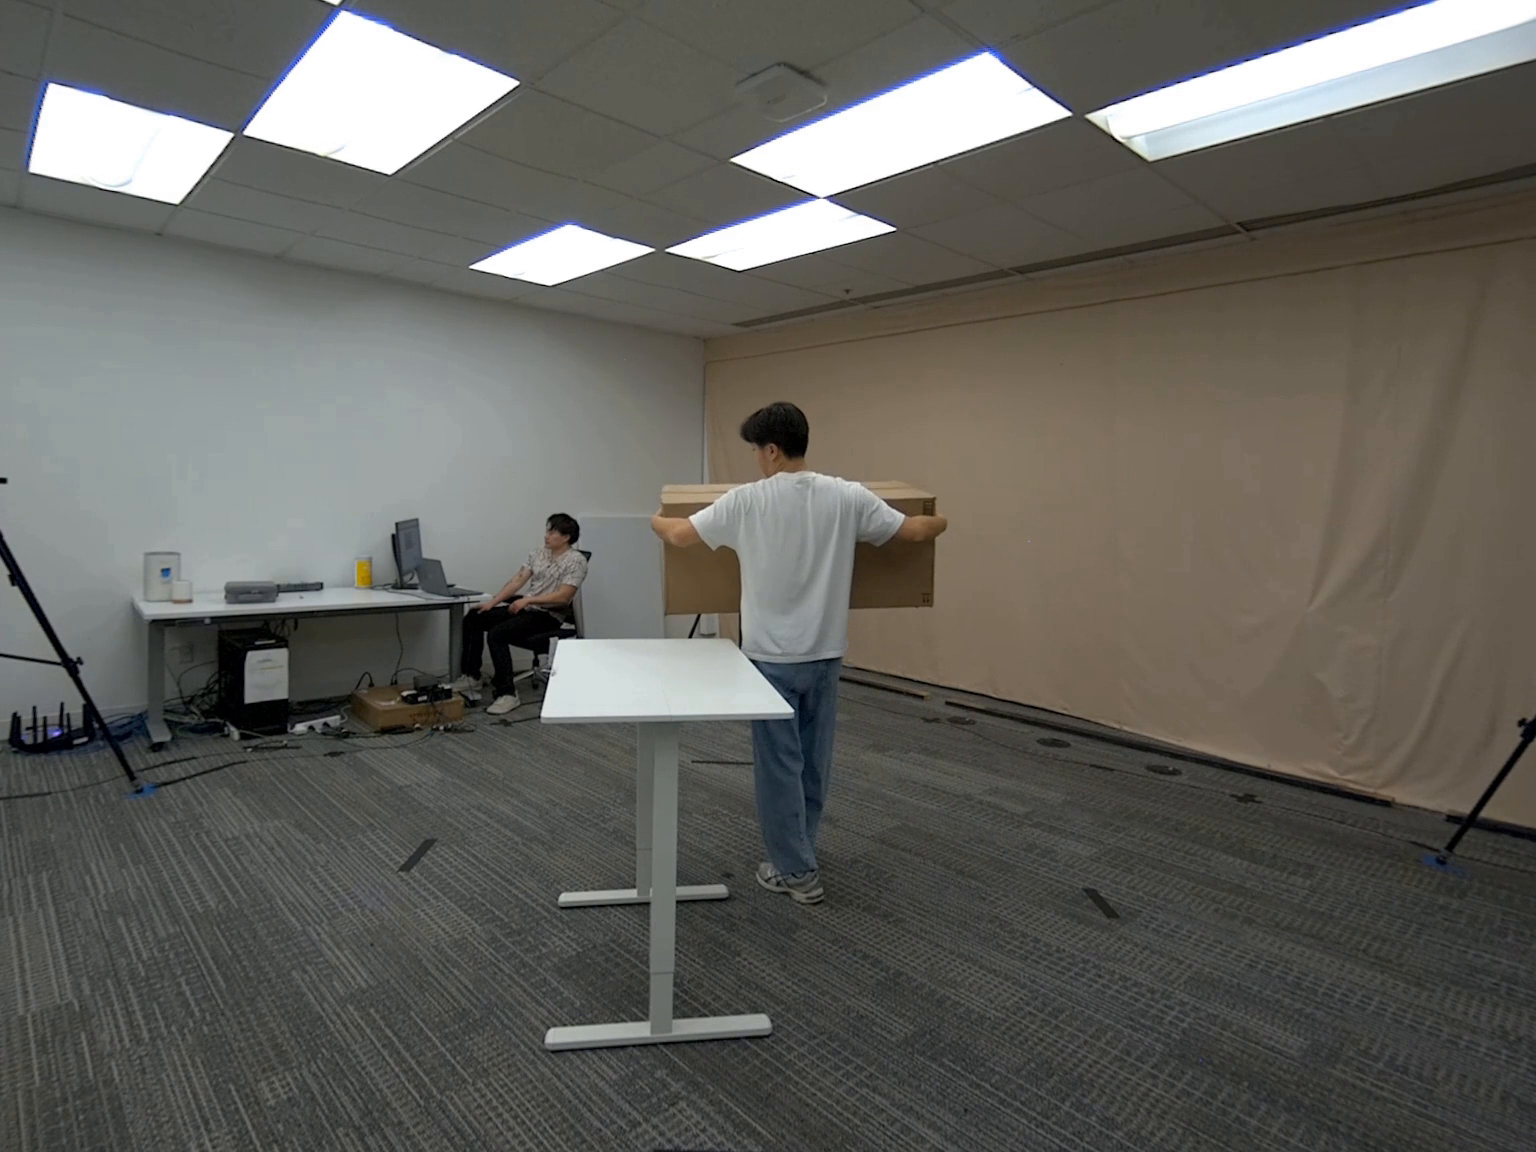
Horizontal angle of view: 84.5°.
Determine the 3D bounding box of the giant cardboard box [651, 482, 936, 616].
[{"bbox_3d":[0.081,-0.129,3.394,1.022,0.423,0.584,-1,11,-5],"label":"giant cardboard box"}]
